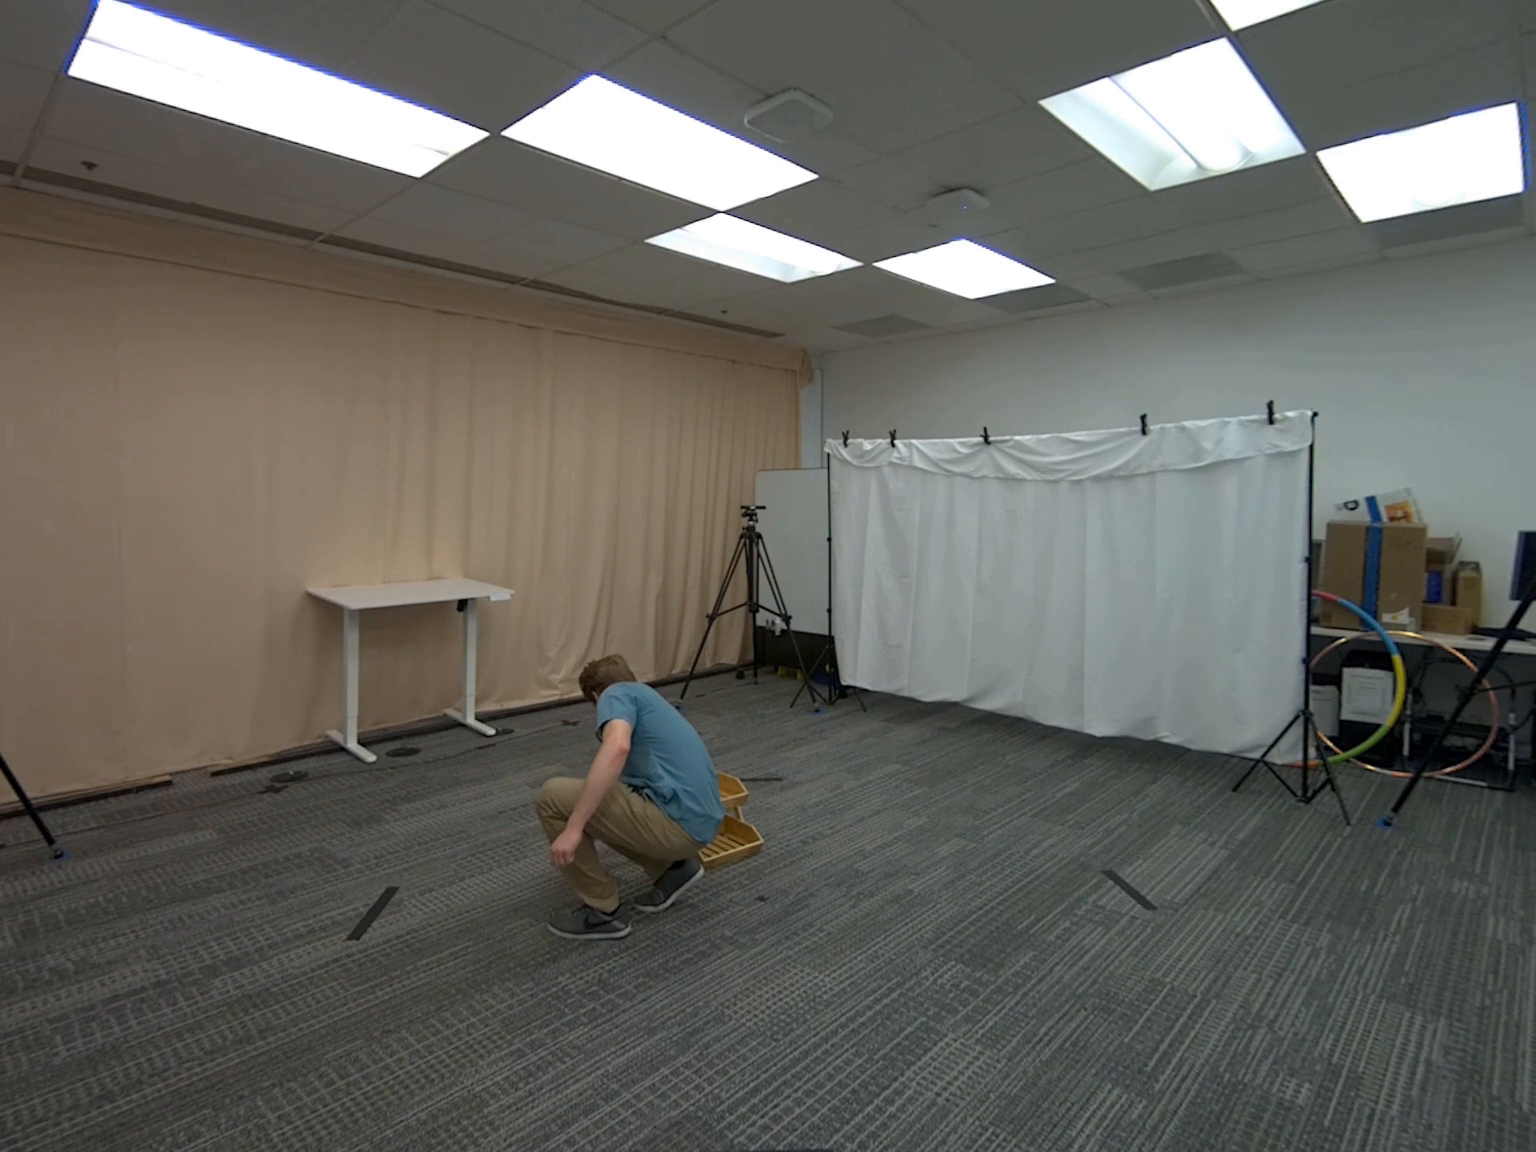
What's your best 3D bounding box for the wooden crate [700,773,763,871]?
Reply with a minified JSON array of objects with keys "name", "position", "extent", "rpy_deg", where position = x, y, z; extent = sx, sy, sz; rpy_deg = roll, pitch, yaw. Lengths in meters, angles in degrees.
[{"name":"wooden crate","position":[-0.234,0.974,3.386],"extent":[0.315,0.273,0.312],"rpy_deg":[-4,4,-39]}]
